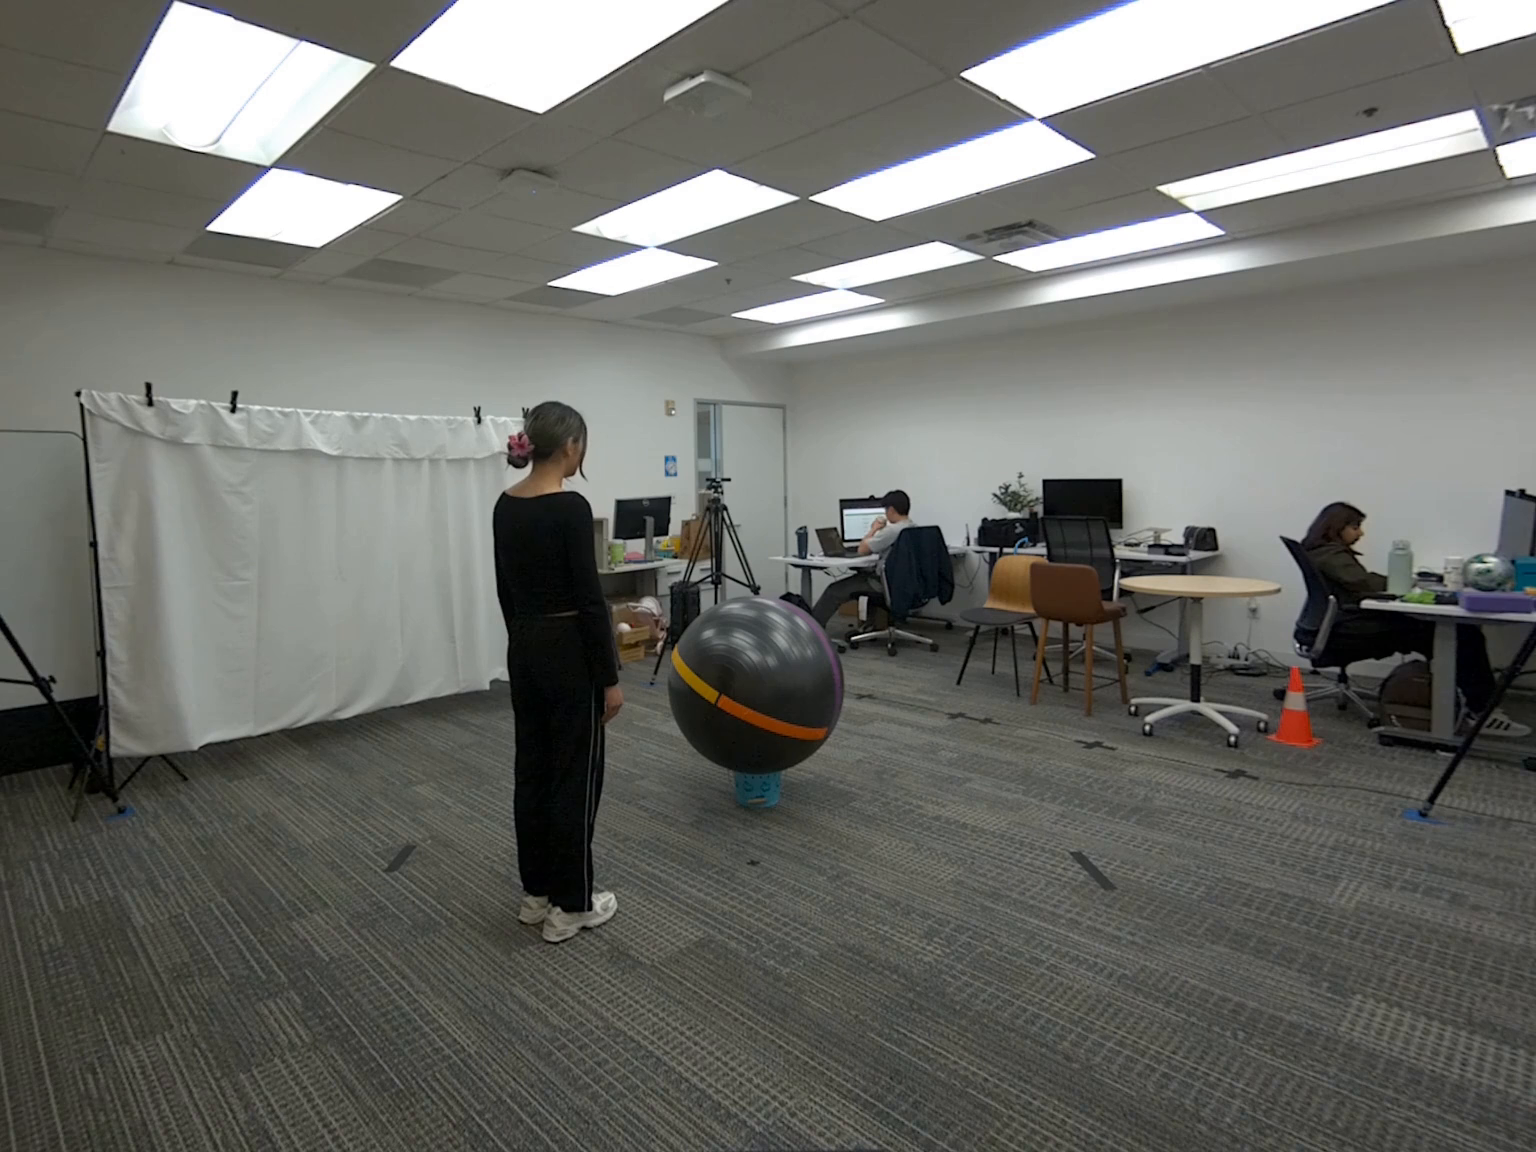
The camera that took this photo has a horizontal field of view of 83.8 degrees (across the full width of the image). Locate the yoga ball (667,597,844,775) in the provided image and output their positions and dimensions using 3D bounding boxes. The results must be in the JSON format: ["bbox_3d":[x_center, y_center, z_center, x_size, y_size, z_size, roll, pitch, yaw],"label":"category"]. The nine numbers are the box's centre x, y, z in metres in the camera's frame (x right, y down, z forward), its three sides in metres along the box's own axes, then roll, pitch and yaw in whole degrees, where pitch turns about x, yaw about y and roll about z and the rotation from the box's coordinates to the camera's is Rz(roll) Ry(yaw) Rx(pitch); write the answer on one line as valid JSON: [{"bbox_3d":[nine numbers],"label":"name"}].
[{"bbox_3d":[-0.053,0.467,3.689,0.757,0.755,0.762,-1,5,-2],"label":"yoga ball"}]
